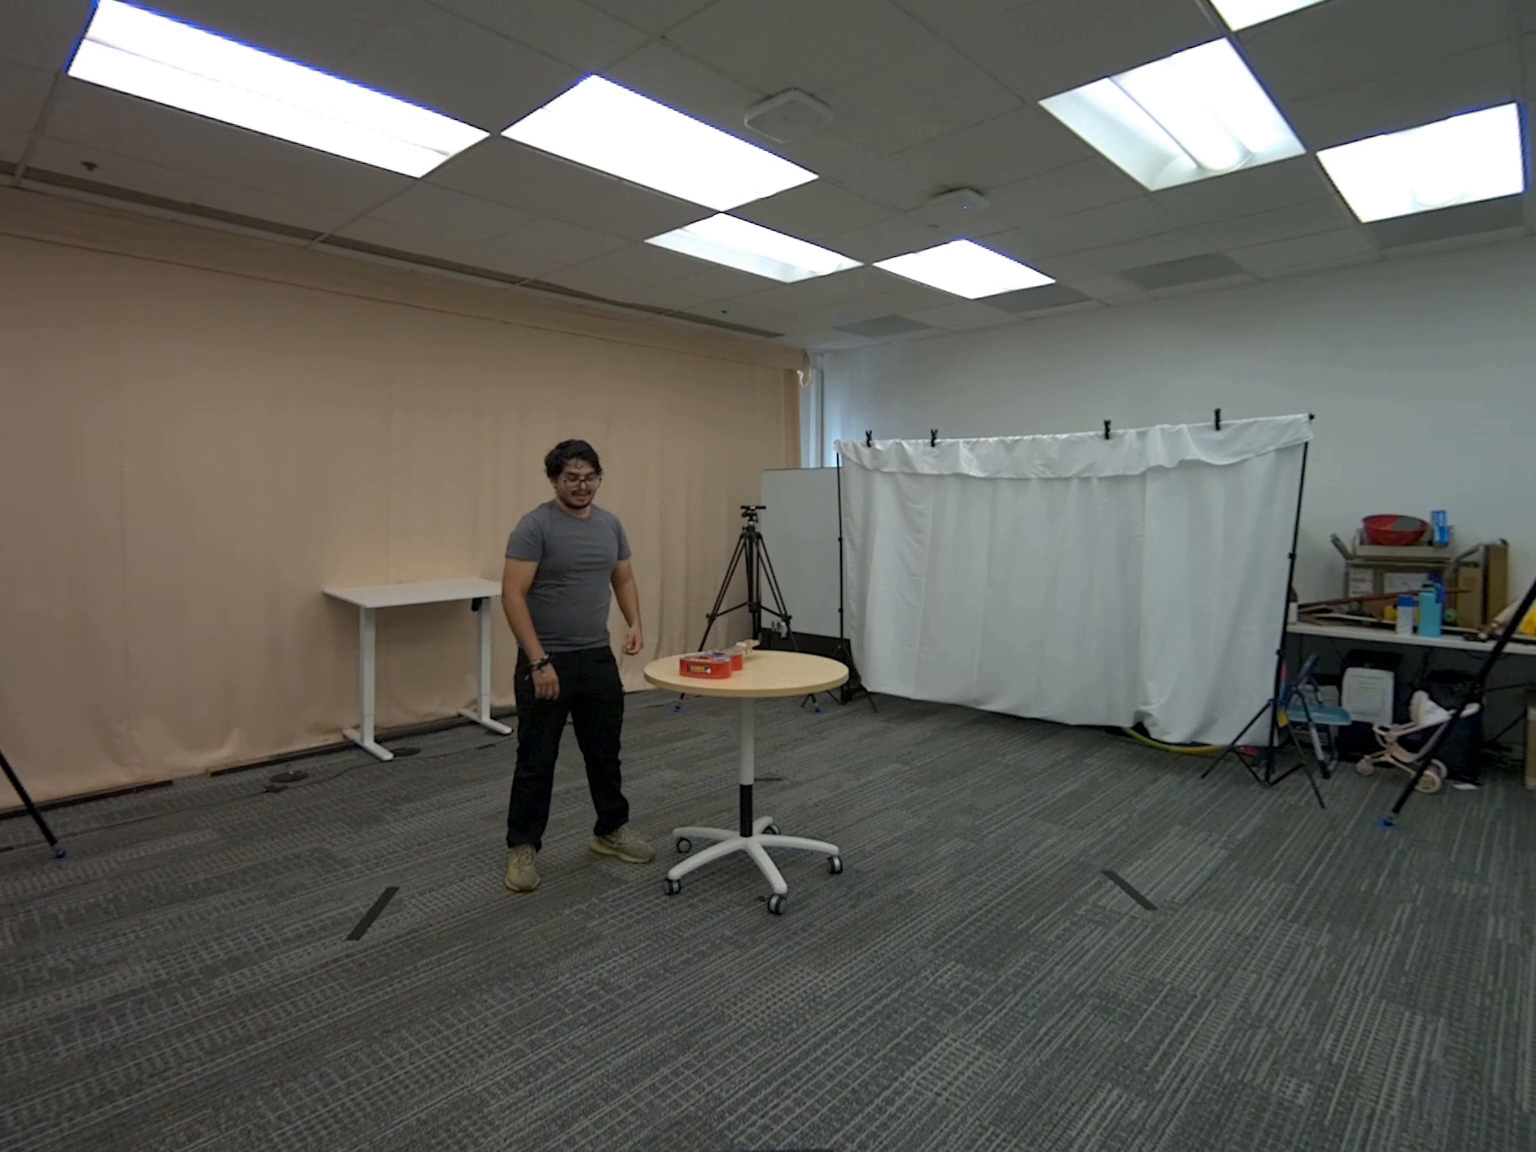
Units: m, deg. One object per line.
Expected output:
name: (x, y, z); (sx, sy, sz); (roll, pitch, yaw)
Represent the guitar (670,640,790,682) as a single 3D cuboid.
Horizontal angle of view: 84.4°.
guitar: (-0.133, 0.309, 3.165); (0.199, 0.070, 0.484); (-1, 4, 33)
